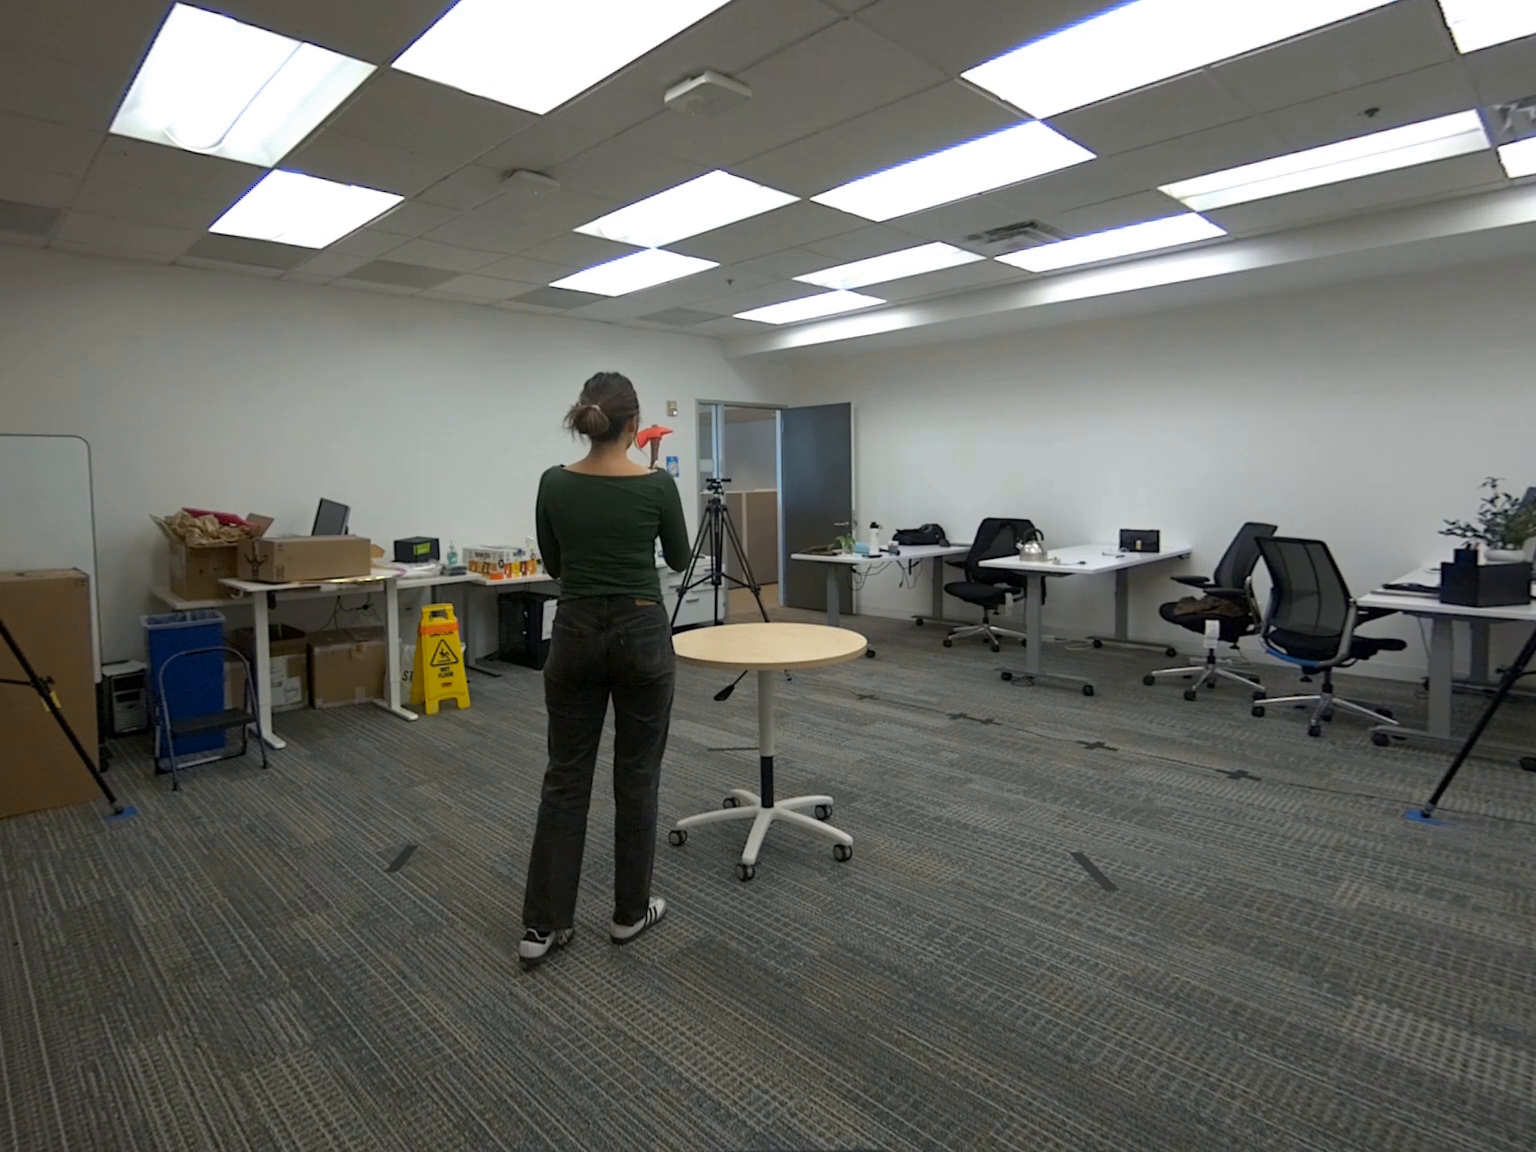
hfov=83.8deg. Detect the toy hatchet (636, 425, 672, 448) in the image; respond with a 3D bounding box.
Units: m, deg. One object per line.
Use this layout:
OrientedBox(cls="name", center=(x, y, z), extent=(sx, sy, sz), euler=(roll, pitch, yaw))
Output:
OrientedBox(cls="toy hatchet", center=(-0.412, -0.397, 2.895), extent=(0.133, 0.273, 0.029), euler=(11, -20, 16))
